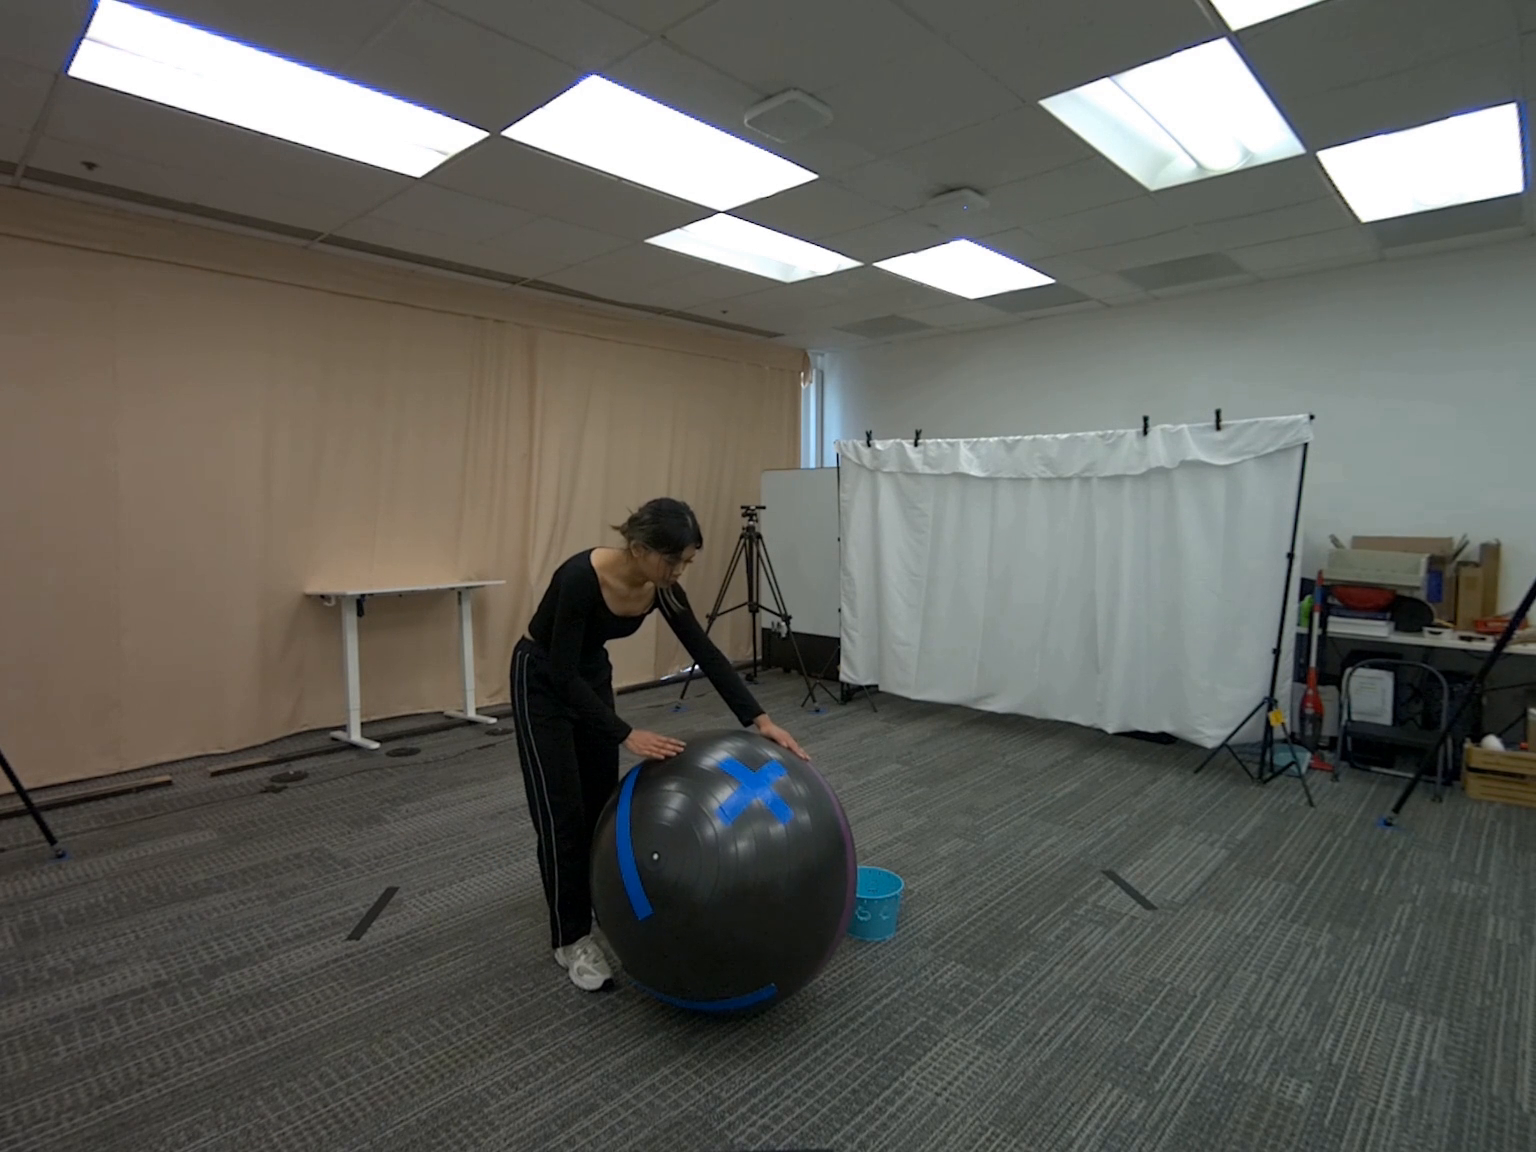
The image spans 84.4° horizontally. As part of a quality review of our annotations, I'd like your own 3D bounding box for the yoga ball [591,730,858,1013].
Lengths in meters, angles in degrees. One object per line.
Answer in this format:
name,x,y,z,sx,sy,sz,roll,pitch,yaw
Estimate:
yoga ball,-0.123,0.828,2.391,0.757,0.756,0.760,0,4,-2
